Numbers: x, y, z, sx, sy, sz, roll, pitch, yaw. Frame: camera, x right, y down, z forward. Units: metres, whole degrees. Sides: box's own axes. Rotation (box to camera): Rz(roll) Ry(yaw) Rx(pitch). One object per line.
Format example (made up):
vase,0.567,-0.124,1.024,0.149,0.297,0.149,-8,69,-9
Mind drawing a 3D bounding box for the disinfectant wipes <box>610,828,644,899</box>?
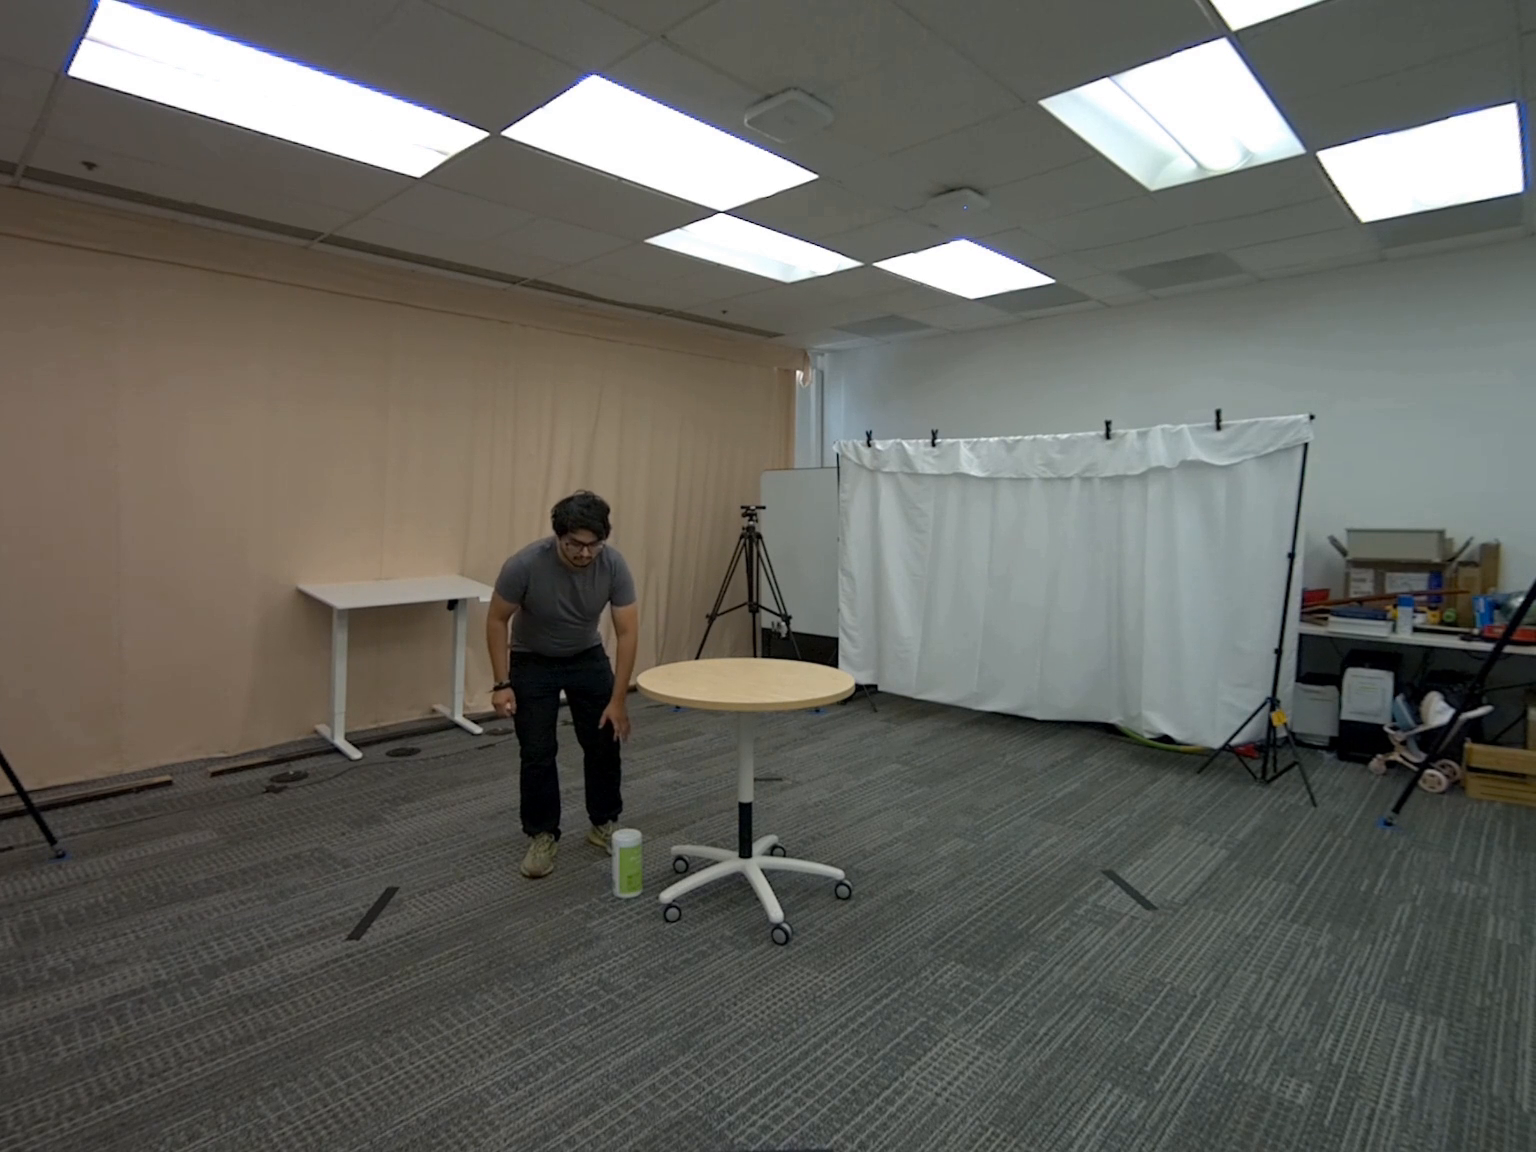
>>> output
disinfectant wipes,-0.505,1.032,3.042,0.118,0.217,0.118,-2,2,-2
